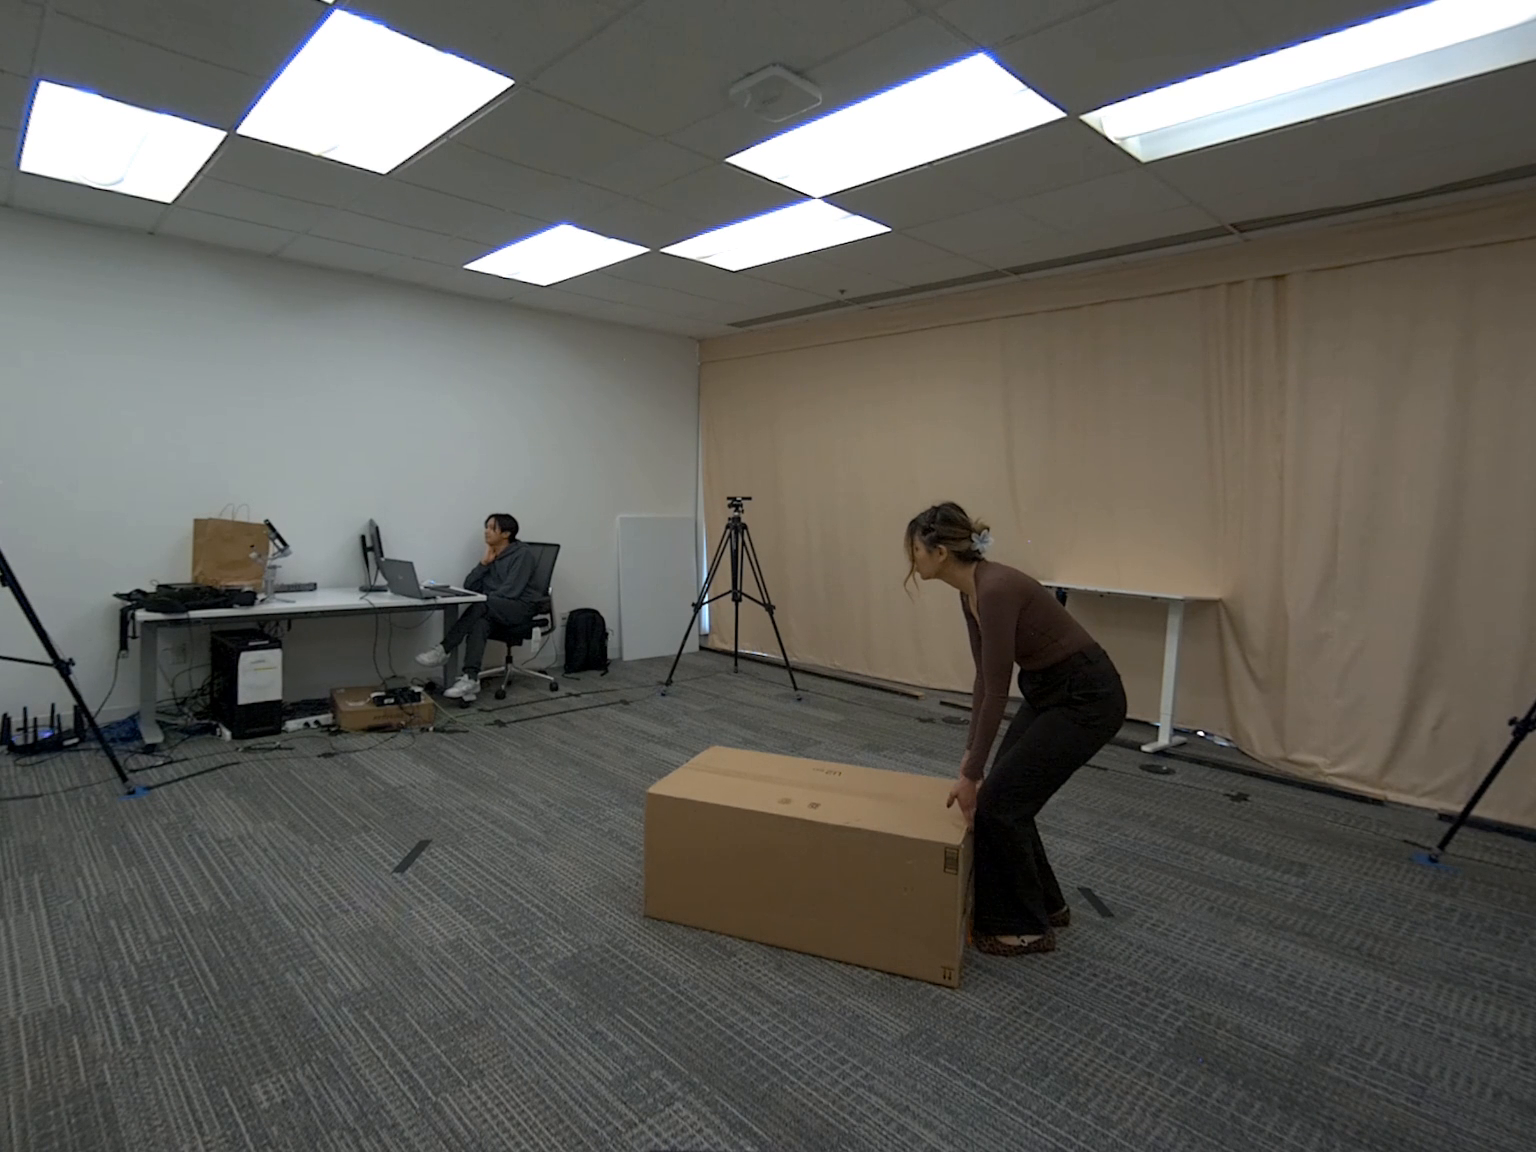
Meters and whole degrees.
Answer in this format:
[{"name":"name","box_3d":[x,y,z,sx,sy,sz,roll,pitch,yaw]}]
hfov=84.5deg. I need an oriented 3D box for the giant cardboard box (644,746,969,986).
[{"name":"giant cardboard box","box_3d":[0.155,0.925,2.853,1.045,0.446,0.575,4,4,22]}]
